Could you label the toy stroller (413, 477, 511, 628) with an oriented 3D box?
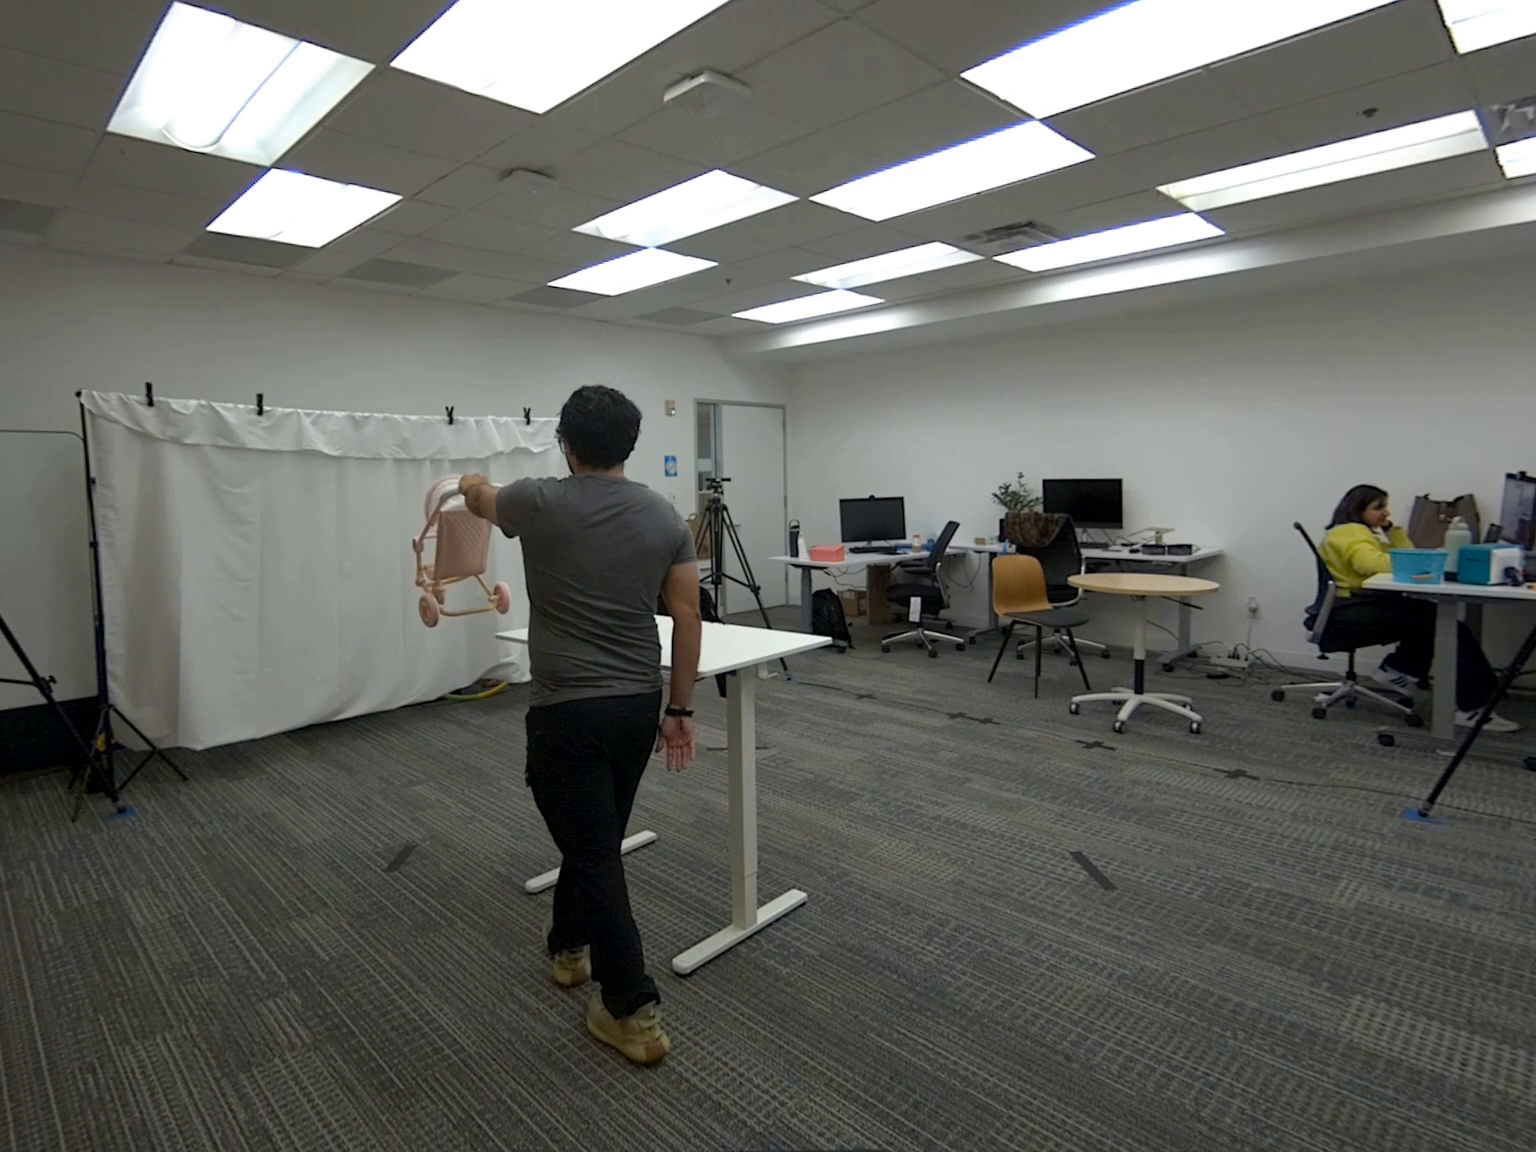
[{"bbox_3d":[-1.019,-0.091,2.798,0.275,0.527,0.355,-7,24,-36],"label":"toy stroller"}]
